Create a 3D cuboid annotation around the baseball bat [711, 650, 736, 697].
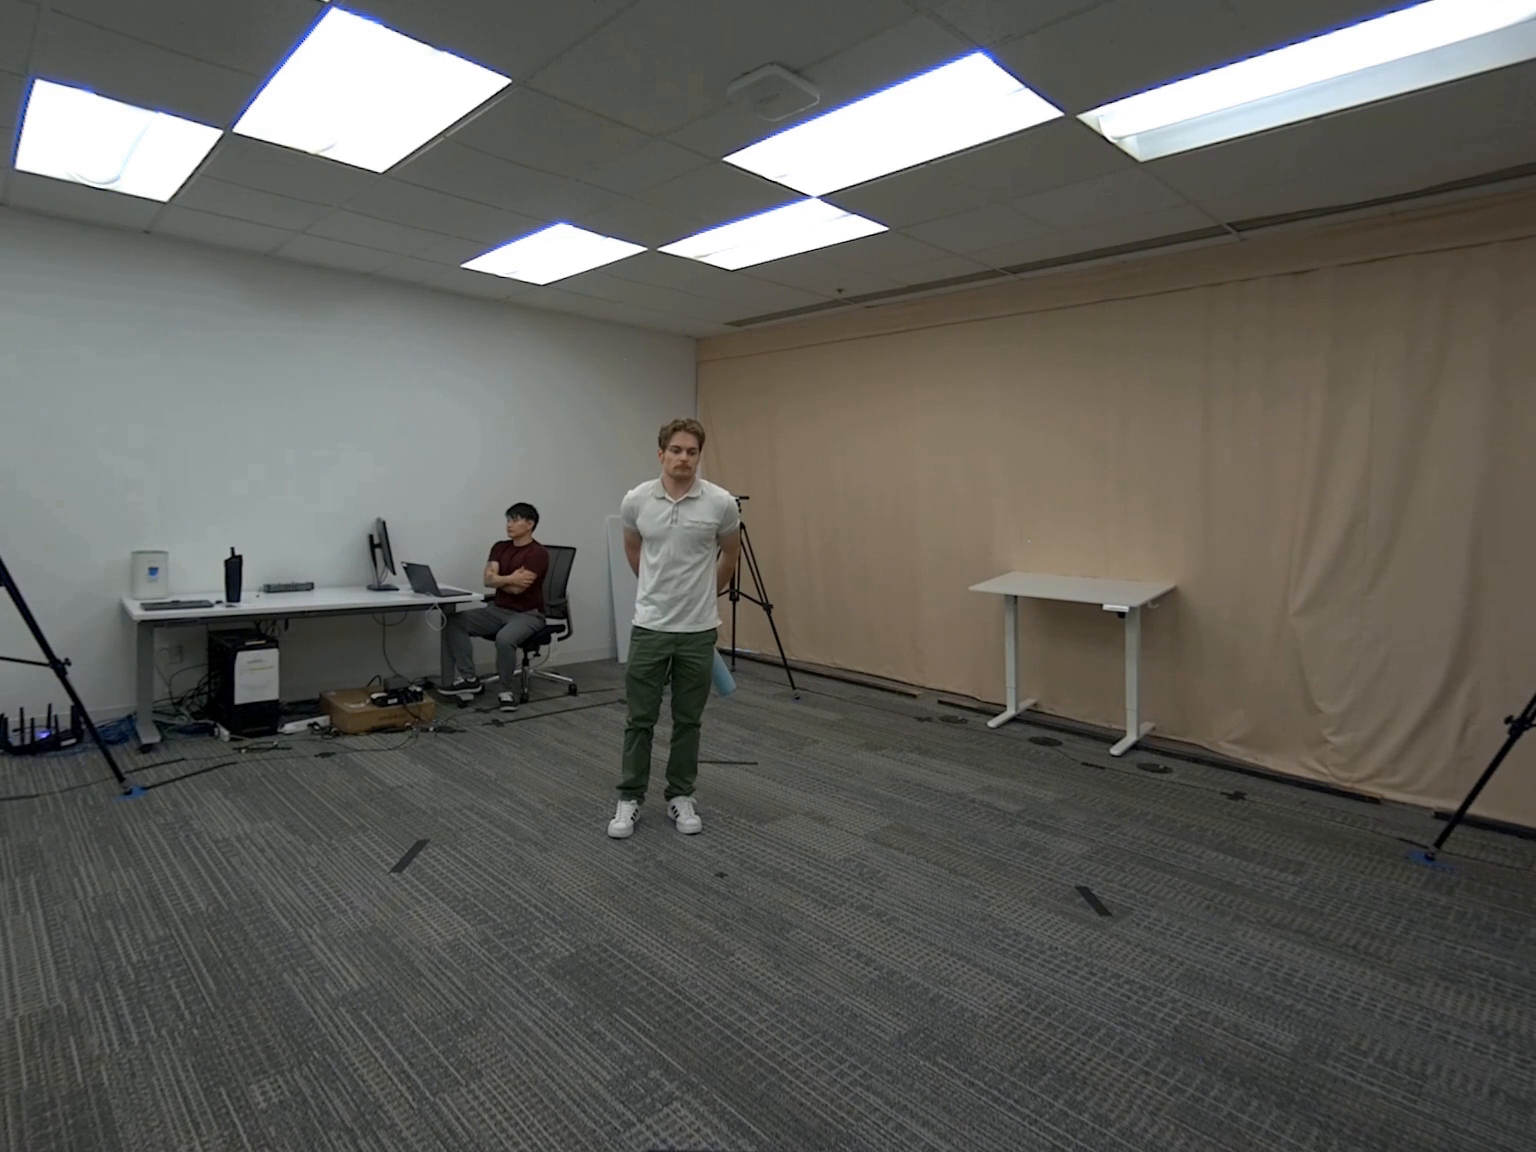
[{"bbox_3d":[-0.306,0.295,3.774,0.089,0.543,0.089,-28,0,-1],"label":"baseball bat"}]
